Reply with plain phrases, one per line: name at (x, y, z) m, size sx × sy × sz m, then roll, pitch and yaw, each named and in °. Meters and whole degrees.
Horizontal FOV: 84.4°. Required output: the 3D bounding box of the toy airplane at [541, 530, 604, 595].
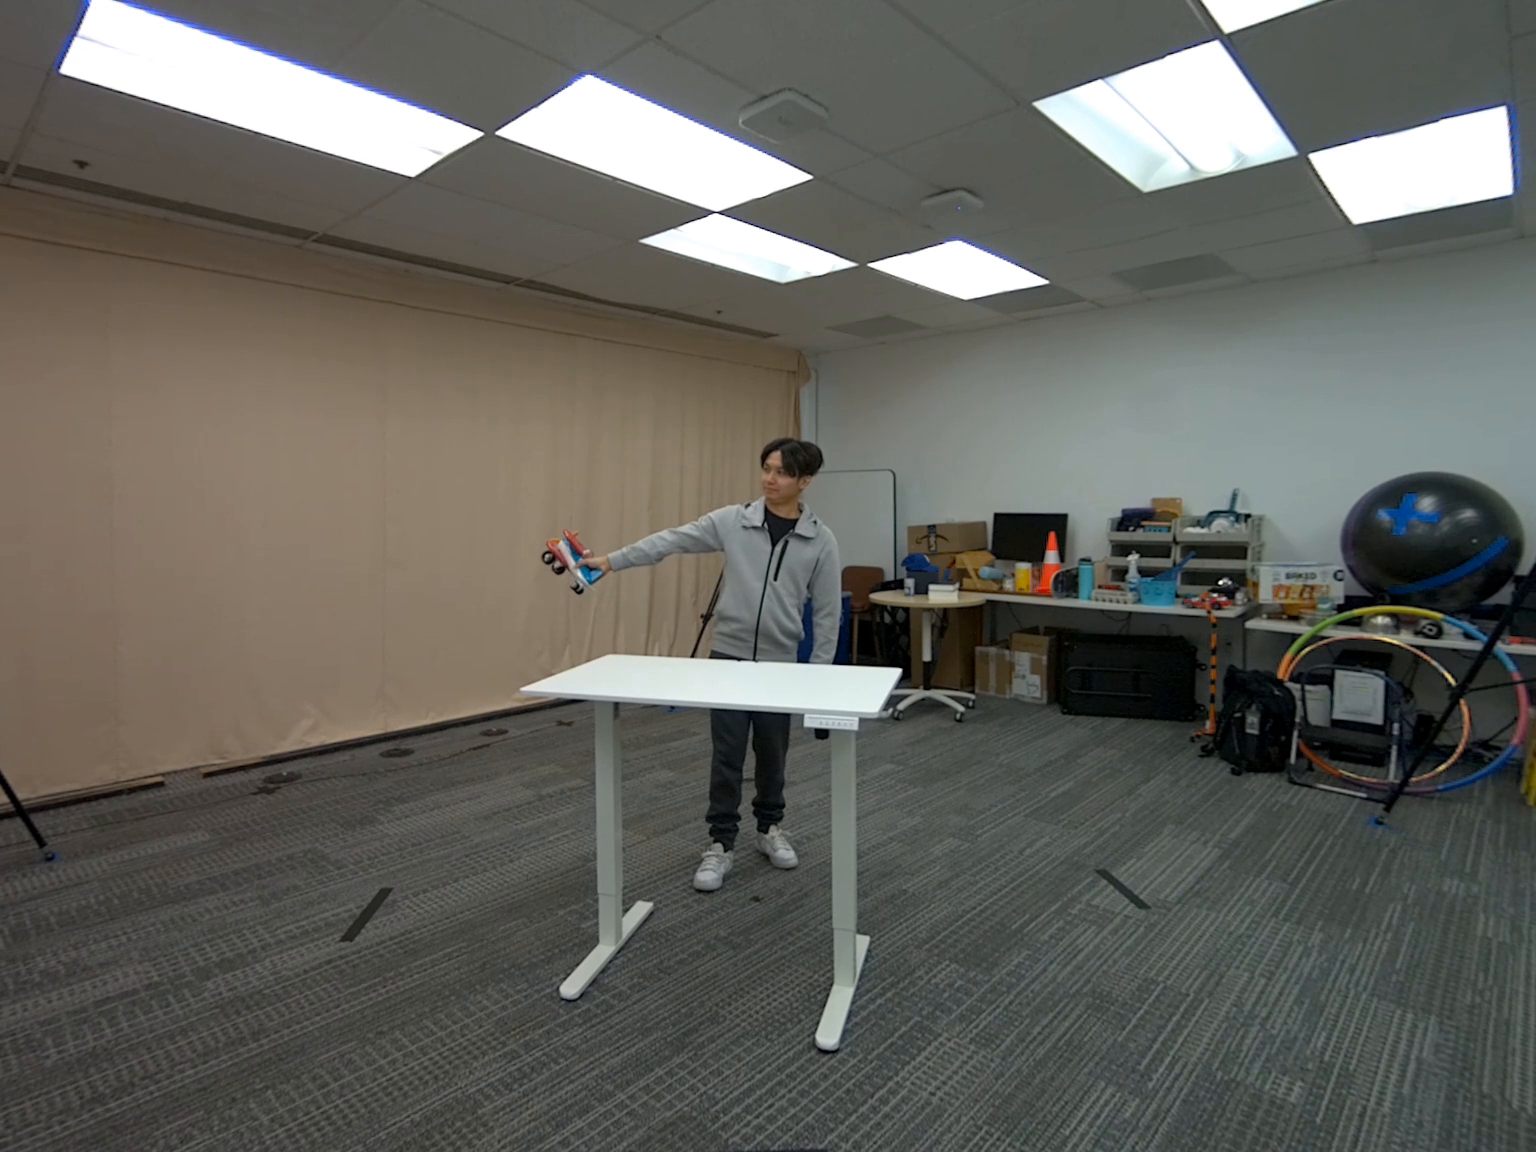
toy airplane at (-0.749, -0.044, 3.294) m, size 0.261 × 0.156 × 0.250 m, roll 42°, pitch -11°, yaw 5°
